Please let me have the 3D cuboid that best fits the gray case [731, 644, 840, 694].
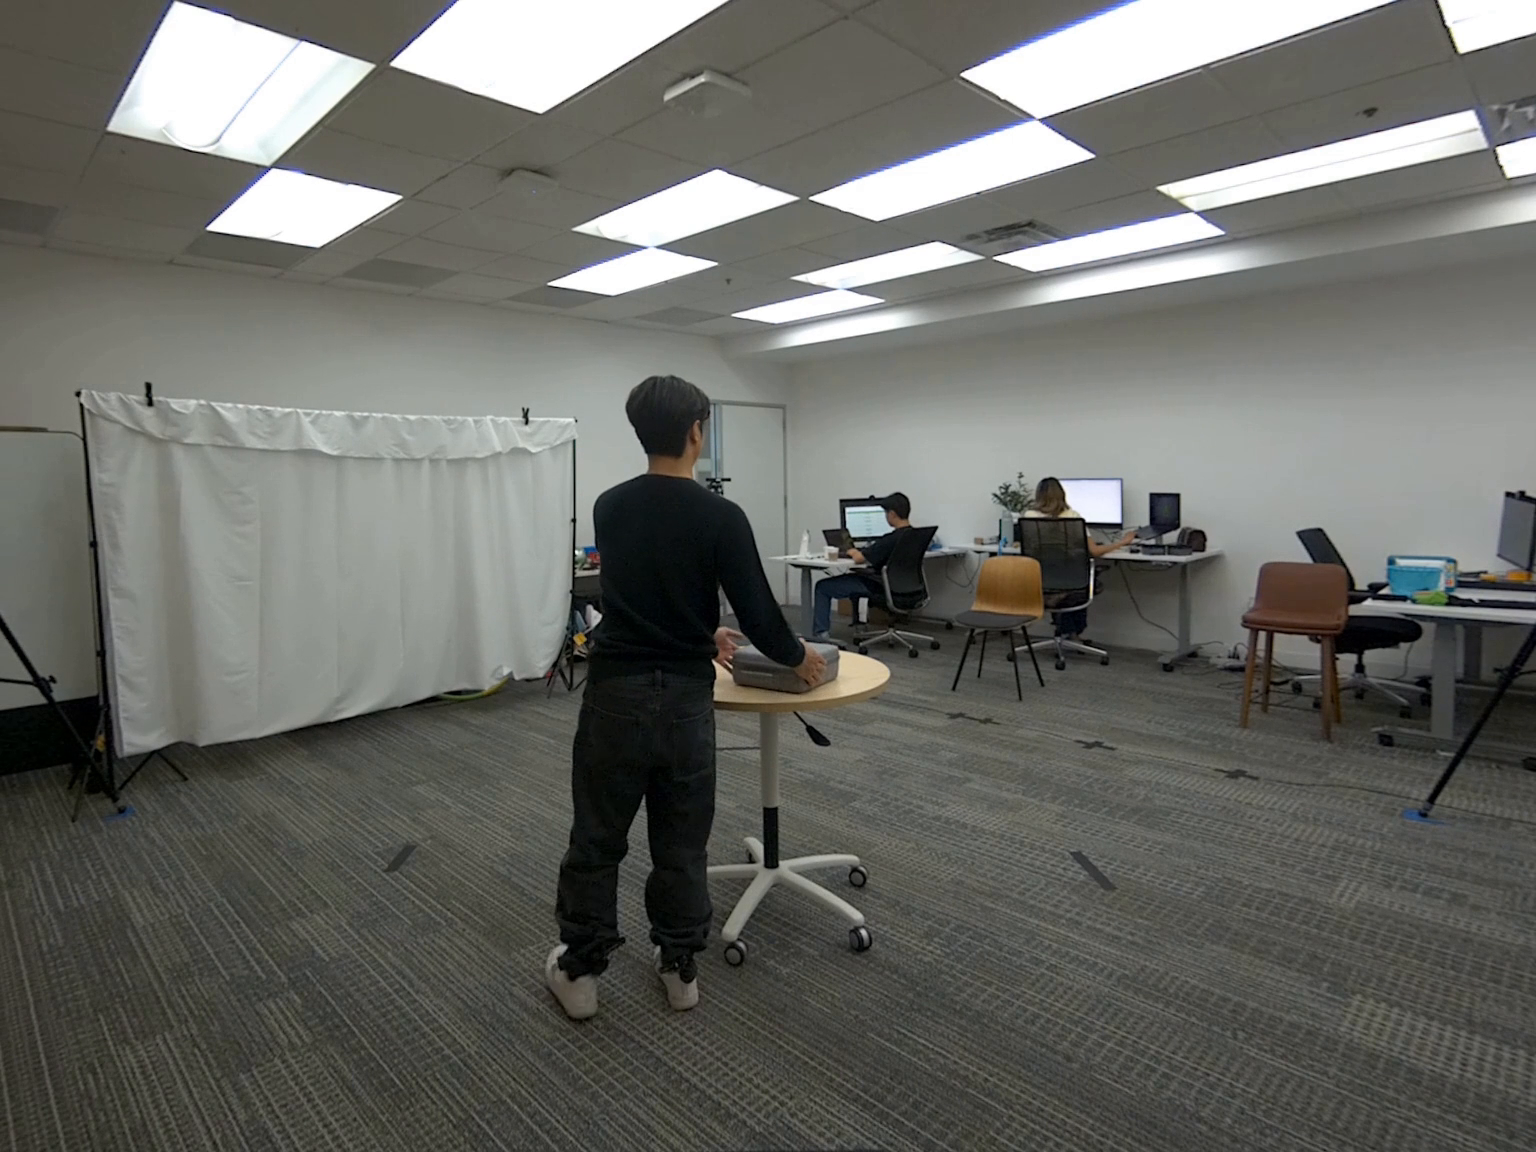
[{"bbox_3d":[0.068,0.268,2.574,0.264,0.104,0.255,4,8,31],"label":"gray case"}]
